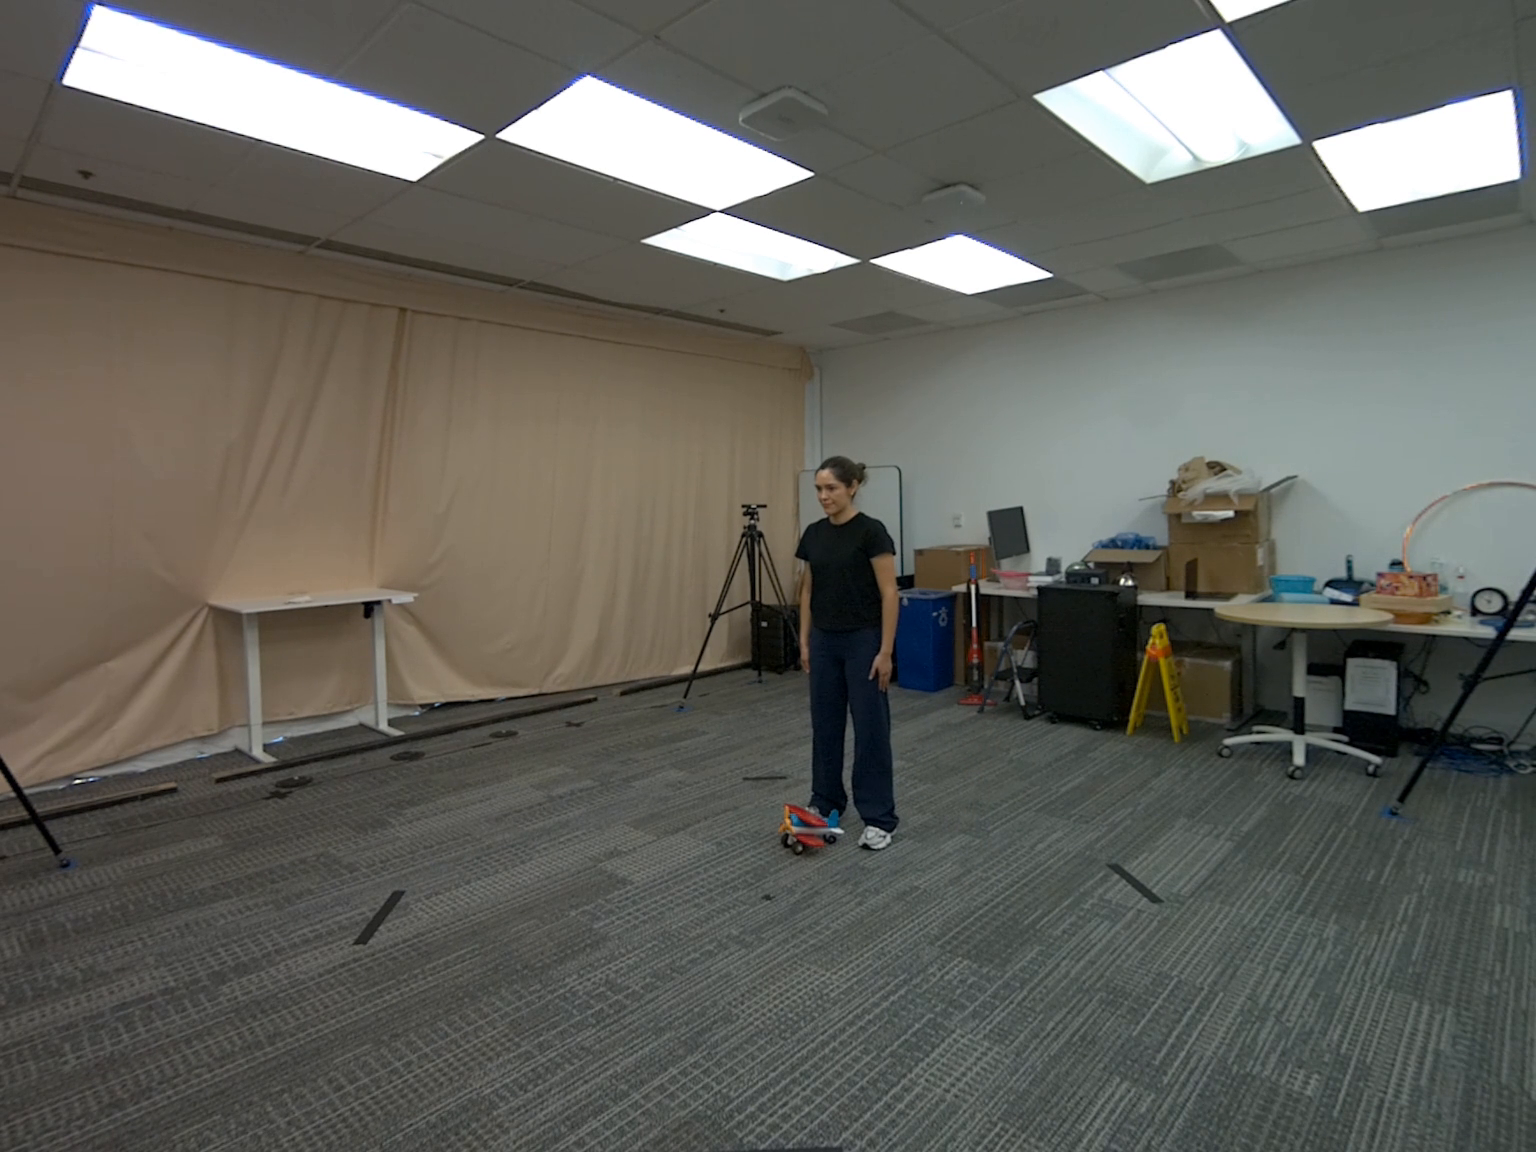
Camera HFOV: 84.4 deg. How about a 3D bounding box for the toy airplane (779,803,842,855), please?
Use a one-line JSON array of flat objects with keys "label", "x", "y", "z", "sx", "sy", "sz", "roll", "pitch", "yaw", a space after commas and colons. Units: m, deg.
[{"label": "toy airplane", "x": 0.176, "y": 1.026, "z": 3.431, "sx": 0.259, "sy": 0.156, "sz": 0.252, "roll": 3, "pitch": 7, "yaw": 33}]
